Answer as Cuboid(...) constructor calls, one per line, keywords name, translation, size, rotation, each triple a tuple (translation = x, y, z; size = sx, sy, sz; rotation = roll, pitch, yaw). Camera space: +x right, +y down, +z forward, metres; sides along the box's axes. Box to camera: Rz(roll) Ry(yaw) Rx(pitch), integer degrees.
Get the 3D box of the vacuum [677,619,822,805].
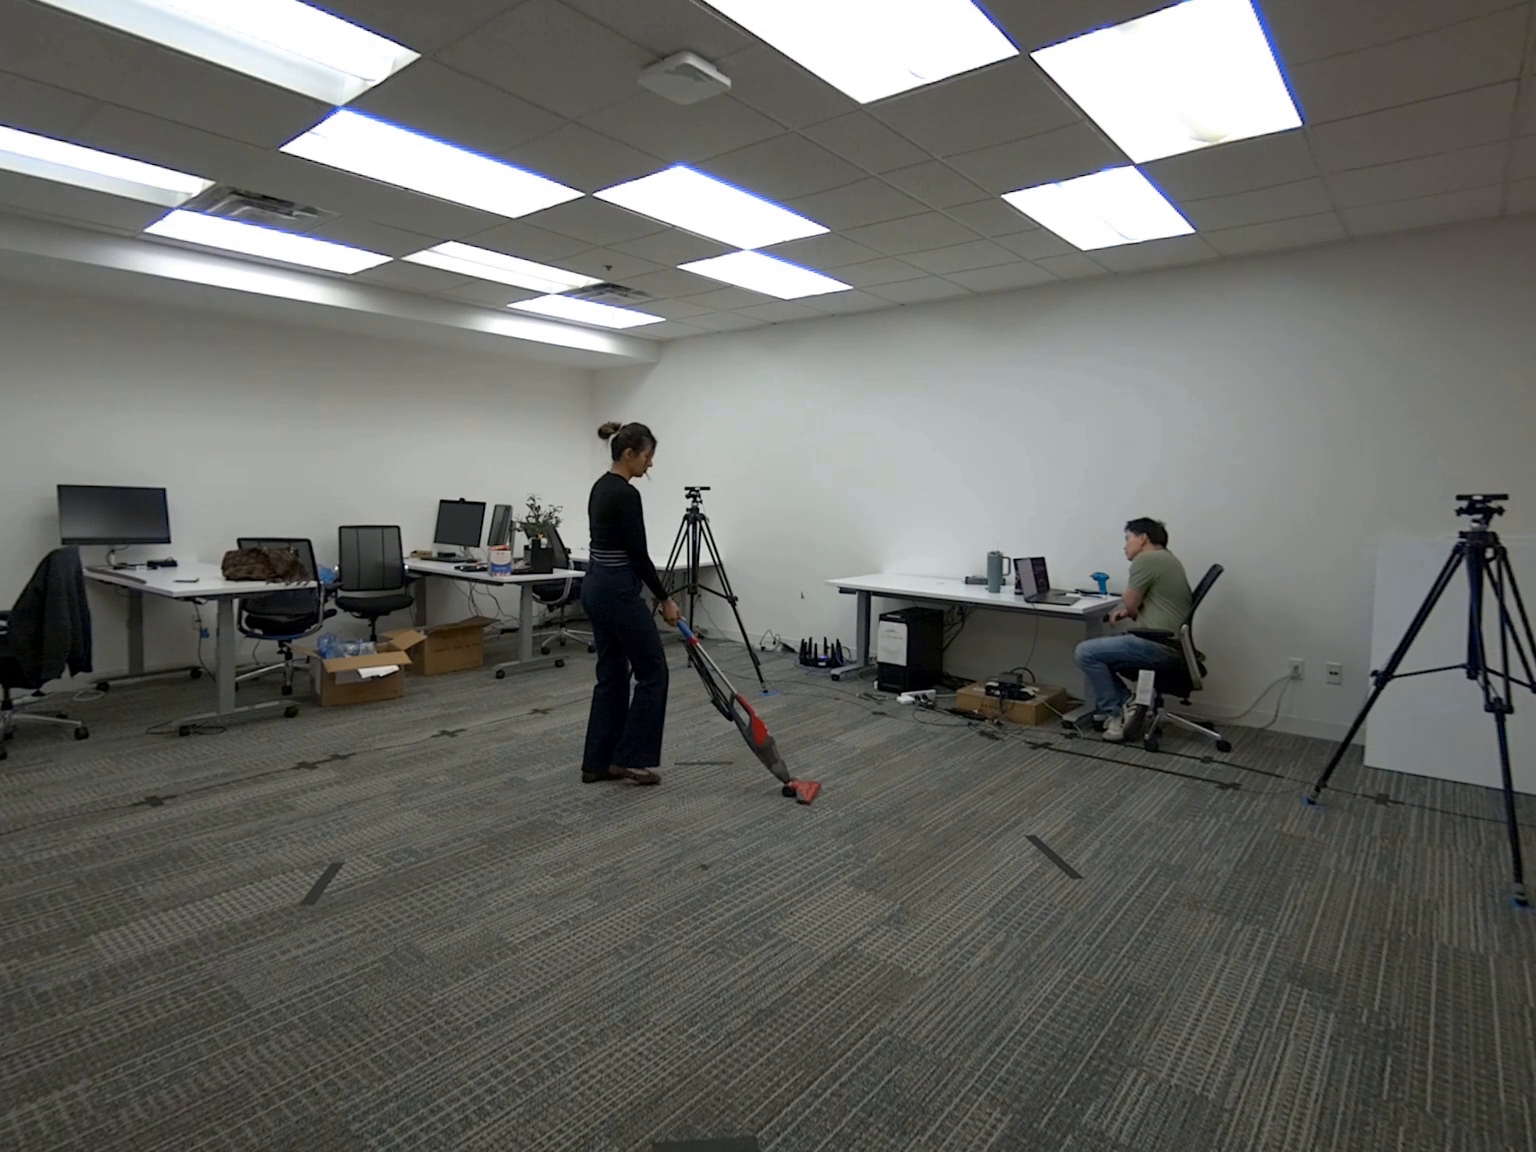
Cuboid(name="vacuum", translation=(-0.174, 0.580, 3.974), size=(0.144, 1.064, 0.248), rotation=(-41, -10, 14))
